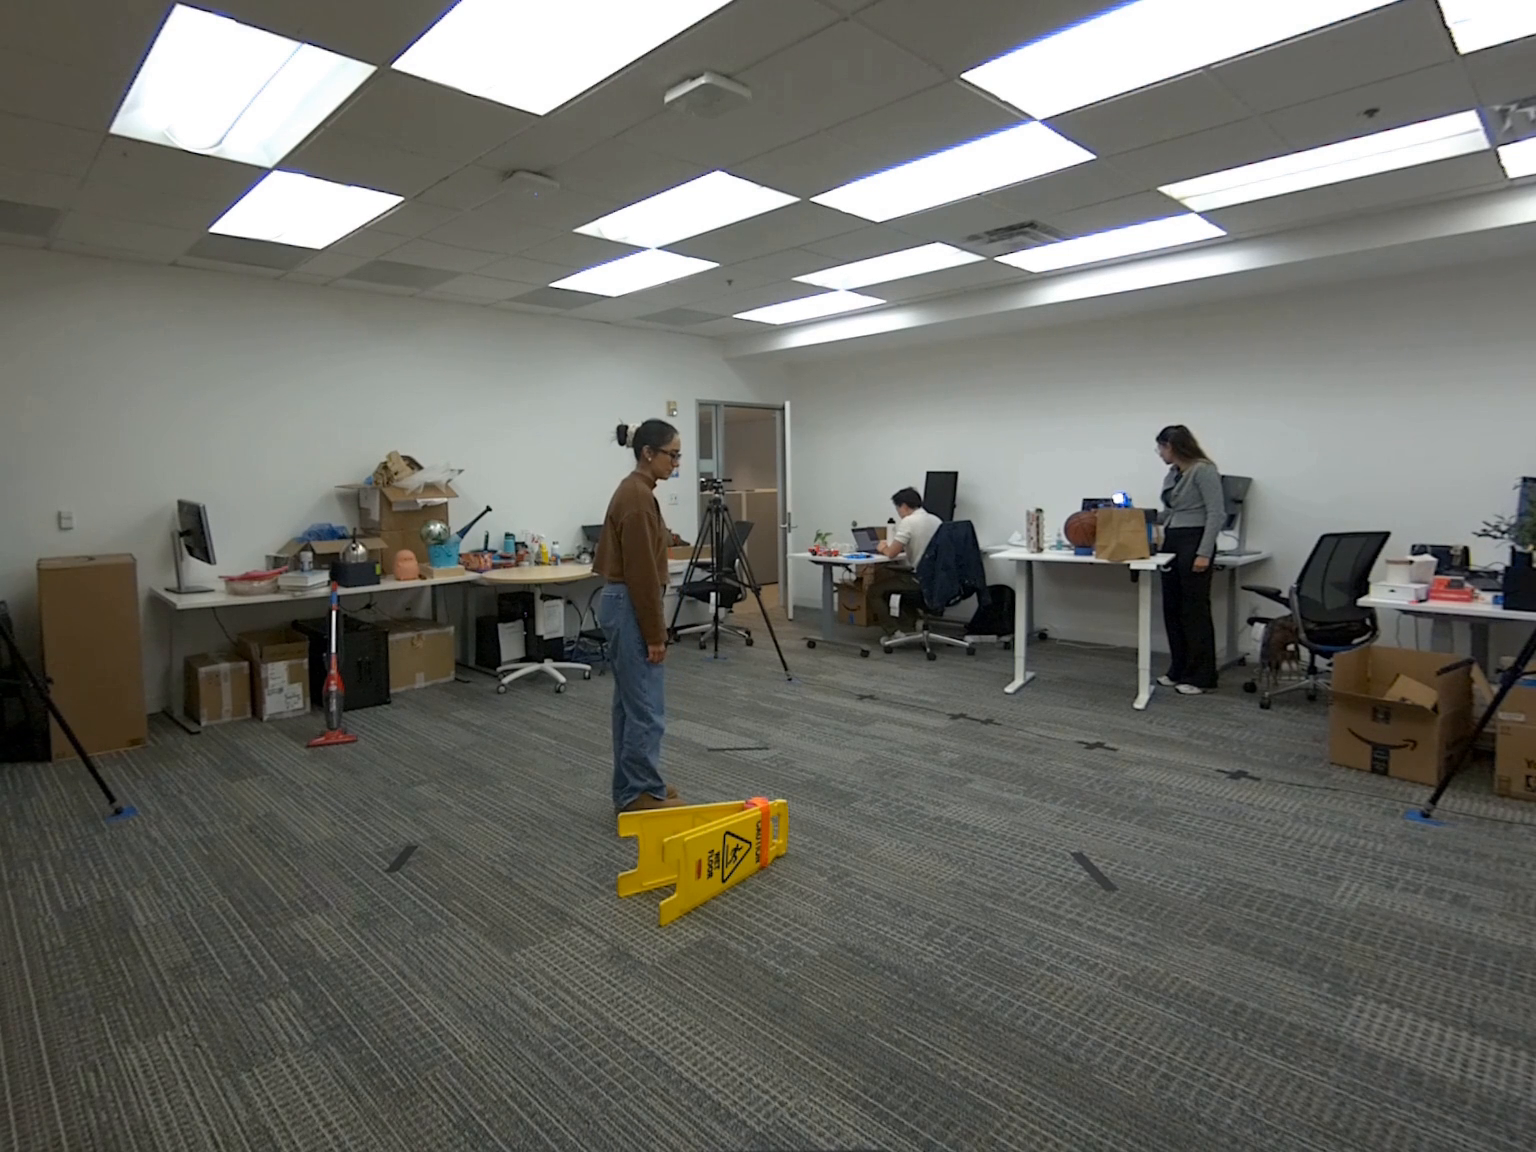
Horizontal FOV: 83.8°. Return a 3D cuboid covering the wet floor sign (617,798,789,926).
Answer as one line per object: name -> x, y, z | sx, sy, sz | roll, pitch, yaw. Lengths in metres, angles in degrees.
wet floor sign -> -0.177, 0.936, 2.971 | 0.628, 0.281, 0.299 | -3, 5, -40
